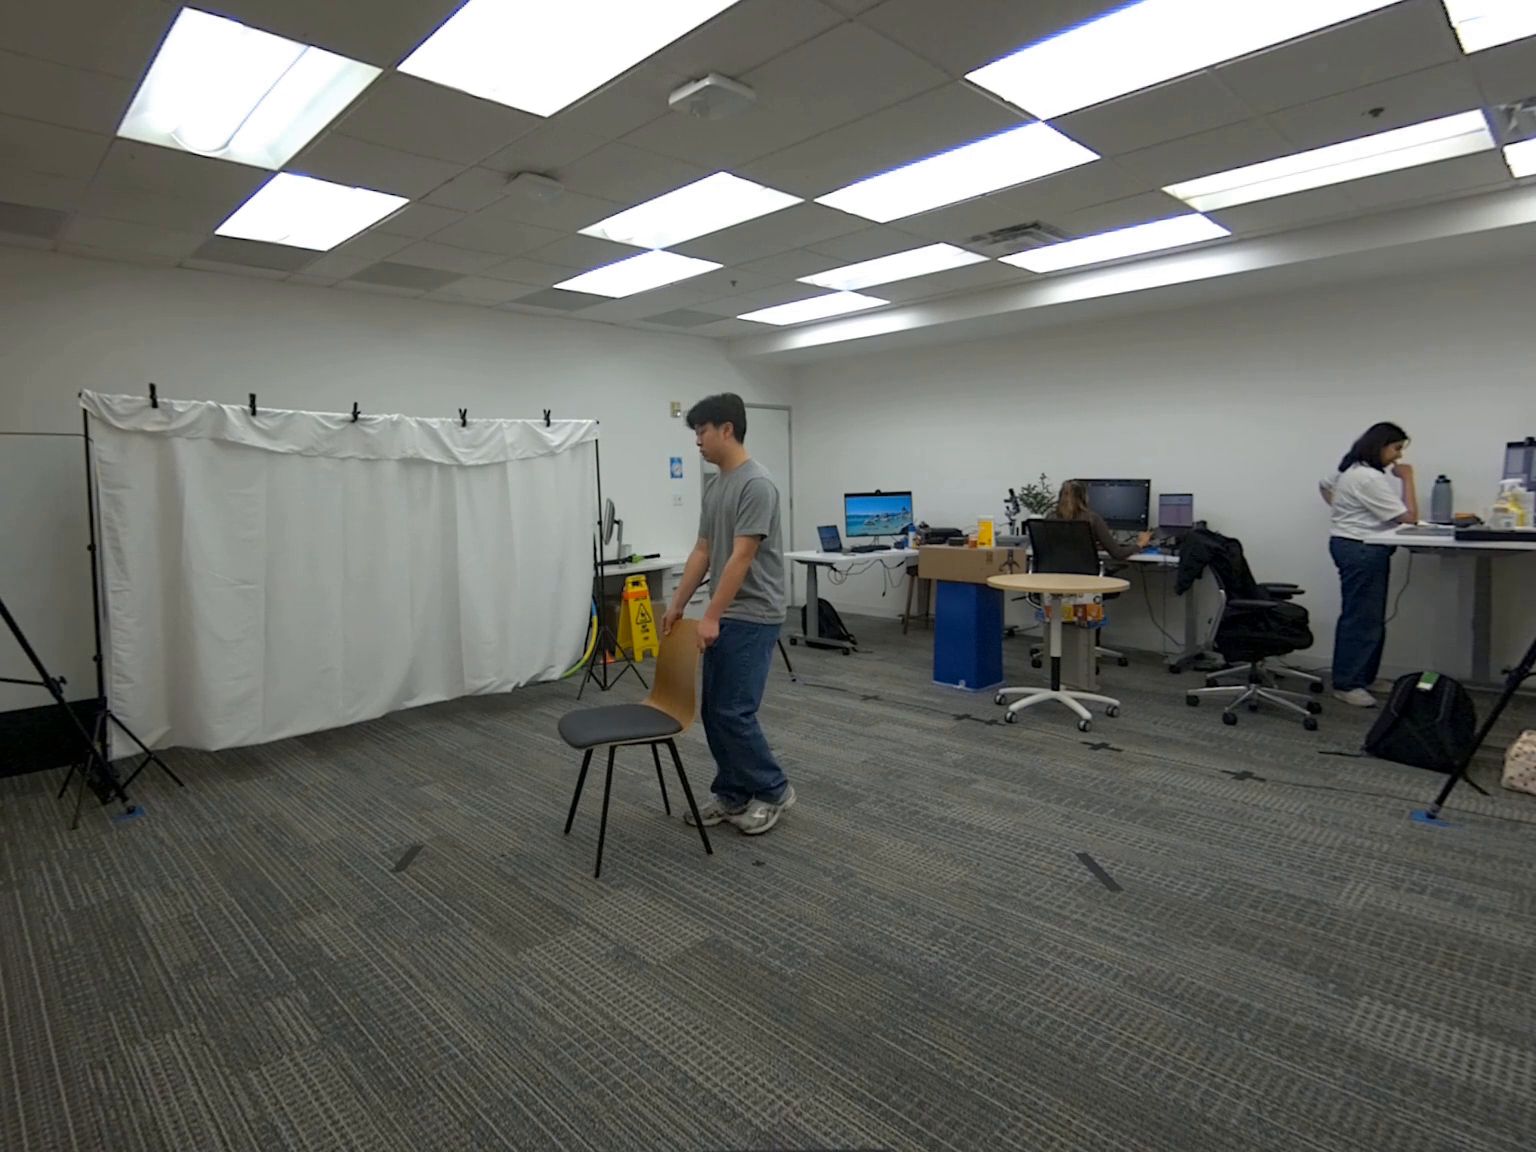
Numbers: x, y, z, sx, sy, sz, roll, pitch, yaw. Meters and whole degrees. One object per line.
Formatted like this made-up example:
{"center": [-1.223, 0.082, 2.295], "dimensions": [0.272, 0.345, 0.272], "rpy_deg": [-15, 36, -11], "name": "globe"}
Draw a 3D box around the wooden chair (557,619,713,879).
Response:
{"center": [-0.522, 0.609, 3.262], "dimensions": [0.511, 0.876, 0.490], "rpy_deg": [3, 2, -26], "name": "wooden chair"}
